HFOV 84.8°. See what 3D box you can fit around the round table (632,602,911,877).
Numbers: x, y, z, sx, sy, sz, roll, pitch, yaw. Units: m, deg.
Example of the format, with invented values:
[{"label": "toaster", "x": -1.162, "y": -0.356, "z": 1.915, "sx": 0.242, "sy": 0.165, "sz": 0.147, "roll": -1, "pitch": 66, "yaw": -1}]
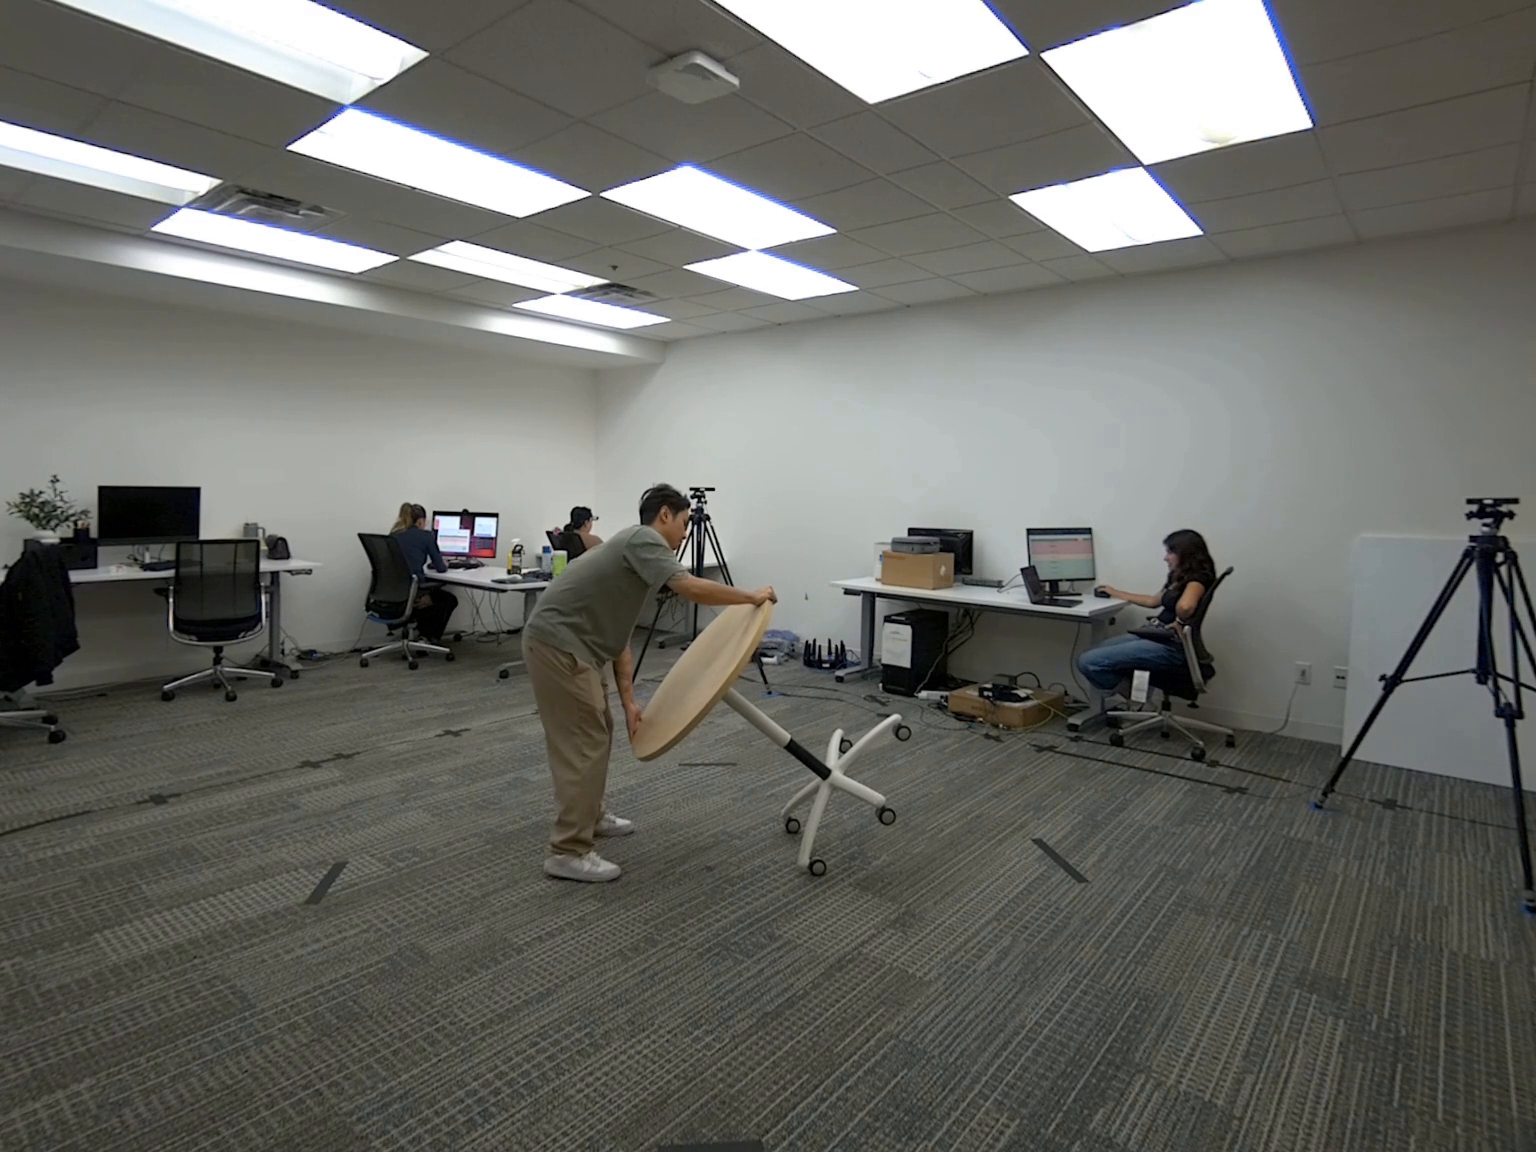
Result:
[{"label": "round table", "x": 0.034, "y": 0.590, "z": 3.212, "sx": 0.775, "sy": 0.785, "sz": 0.797, "roll": 40, "pitch": -4, "yaw": -11}]
